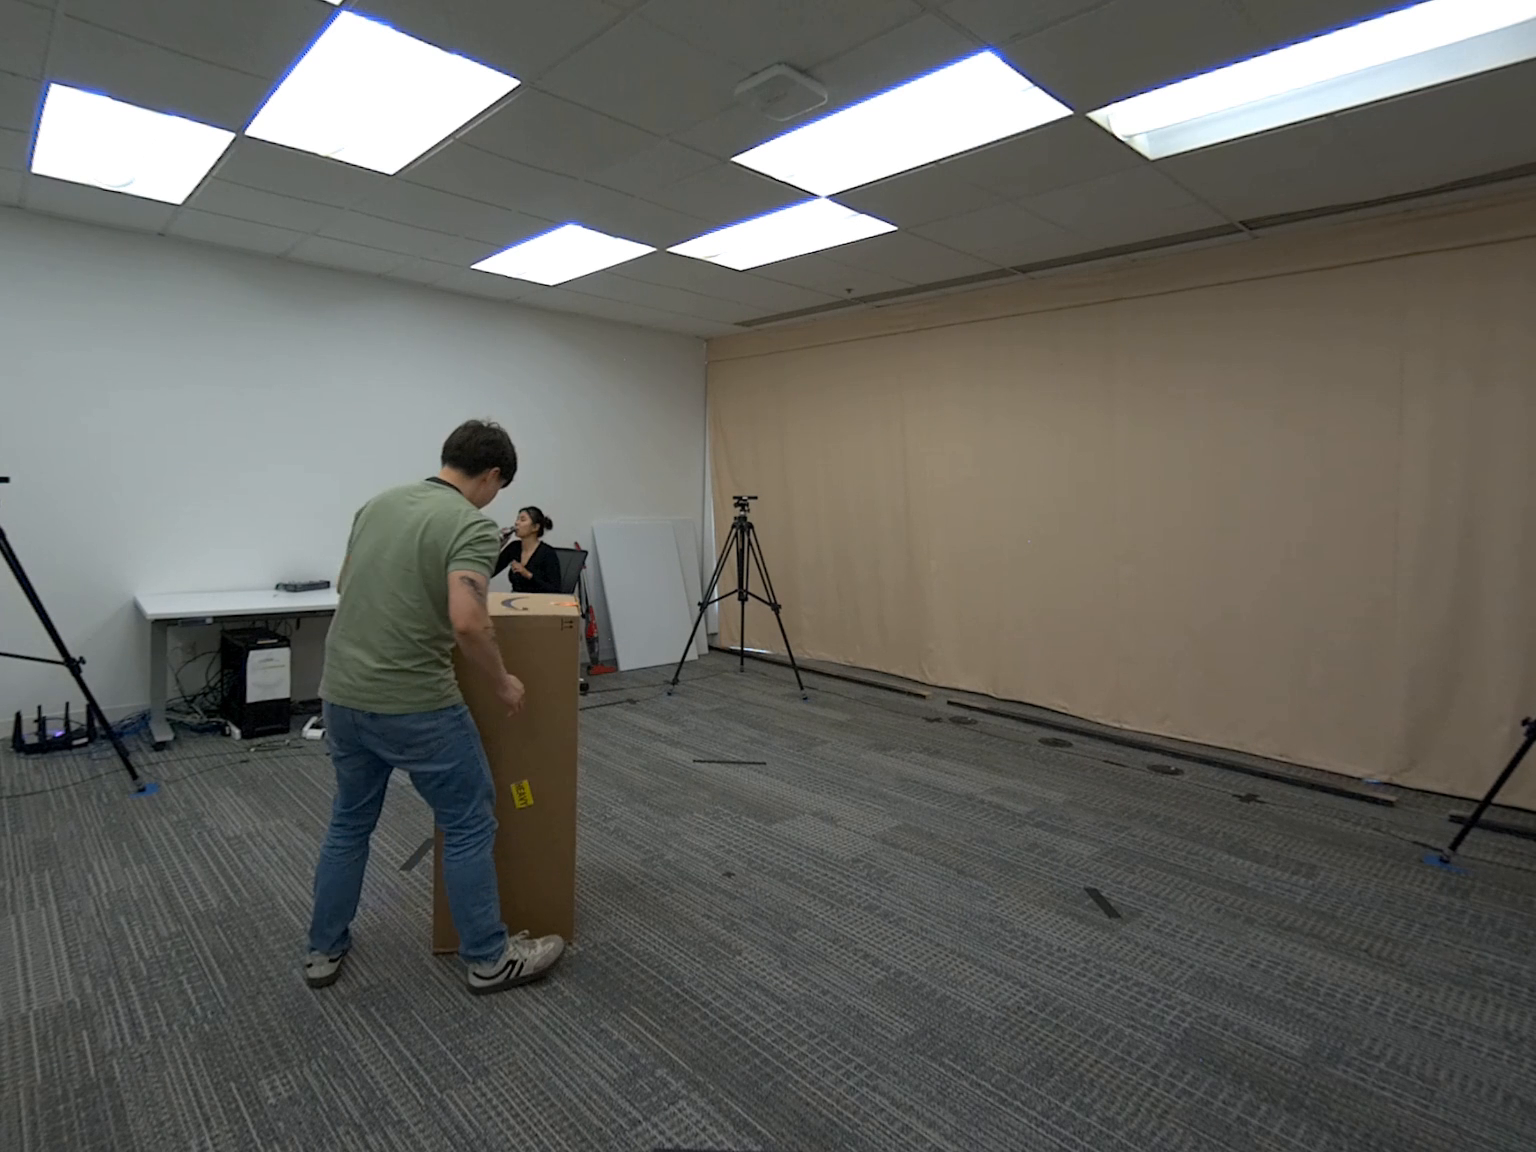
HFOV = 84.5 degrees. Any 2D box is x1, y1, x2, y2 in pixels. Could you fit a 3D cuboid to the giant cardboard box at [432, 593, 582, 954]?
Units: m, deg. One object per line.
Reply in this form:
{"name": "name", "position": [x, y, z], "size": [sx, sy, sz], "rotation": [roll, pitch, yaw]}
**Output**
{"name": "giant cardboard box", "position": [-0.864, 0.603, 2.818], "size": [0.421, 1.024, 0.585], "rotation": [1, 3, -14]}
